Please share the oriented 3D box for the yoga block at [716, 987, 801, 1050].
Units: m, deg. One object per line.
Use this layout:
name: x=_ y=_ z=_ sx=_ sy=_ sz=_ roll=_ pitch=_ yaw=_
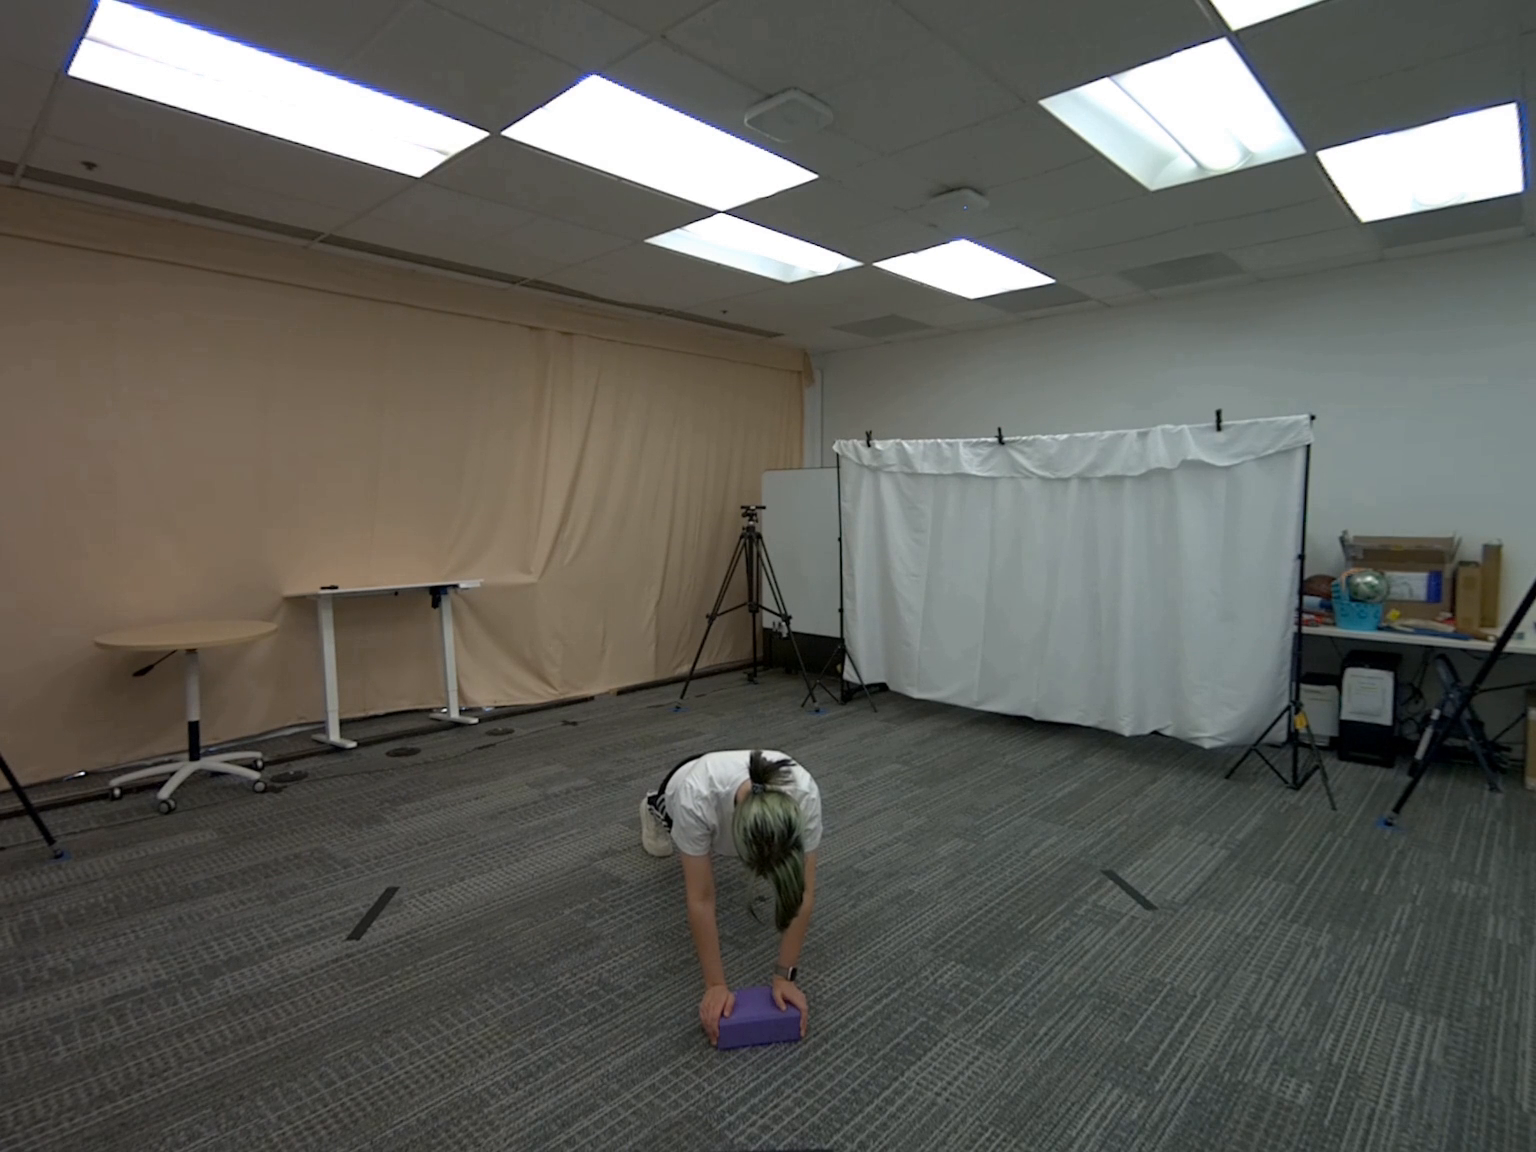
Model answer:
yoga block: x=-0.042 y=1.166 z=2.246 sx=0.227 sy=0.076 sz=0.151 roll=1 pitch=4 yaw=-10
